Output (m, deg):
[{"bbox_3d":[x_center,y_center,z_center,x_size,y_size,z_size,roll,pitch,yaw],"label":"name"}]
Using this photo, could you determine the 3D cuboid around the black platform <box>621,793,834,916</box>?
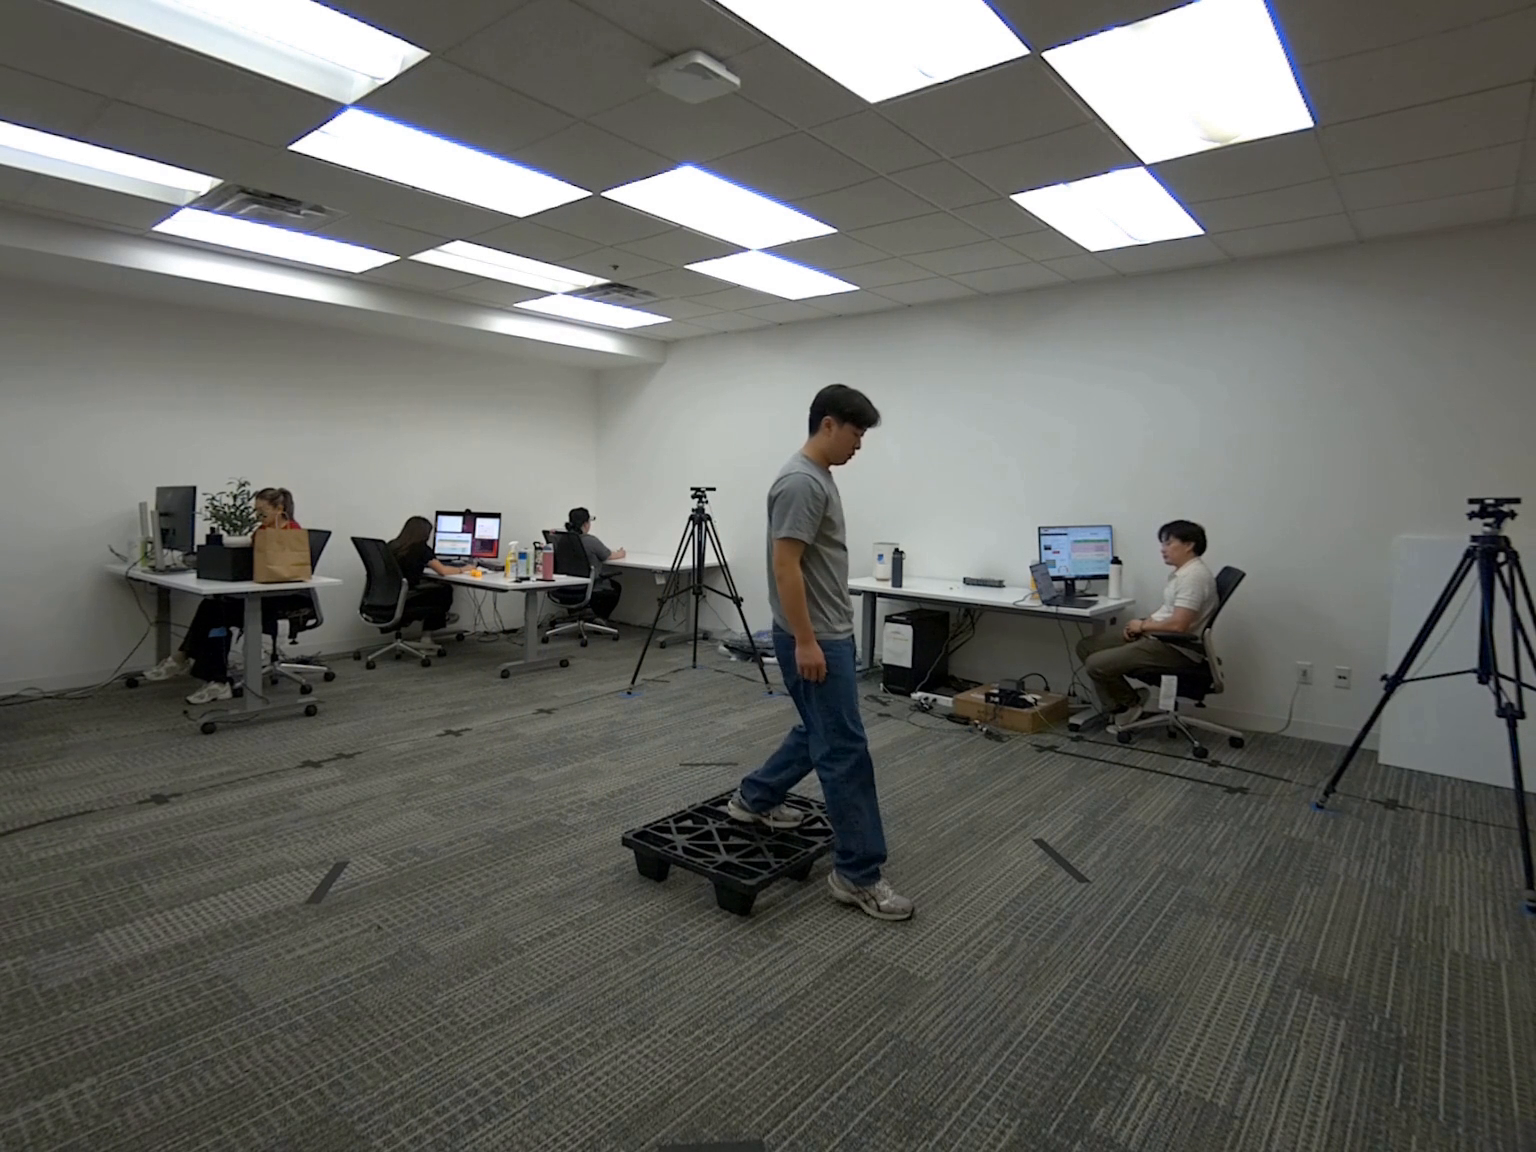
[{"bbox_3d":[-0.068,0.995,3.180,0.625,0.143,0.782,6,7,37],"label":"black platform"}]
